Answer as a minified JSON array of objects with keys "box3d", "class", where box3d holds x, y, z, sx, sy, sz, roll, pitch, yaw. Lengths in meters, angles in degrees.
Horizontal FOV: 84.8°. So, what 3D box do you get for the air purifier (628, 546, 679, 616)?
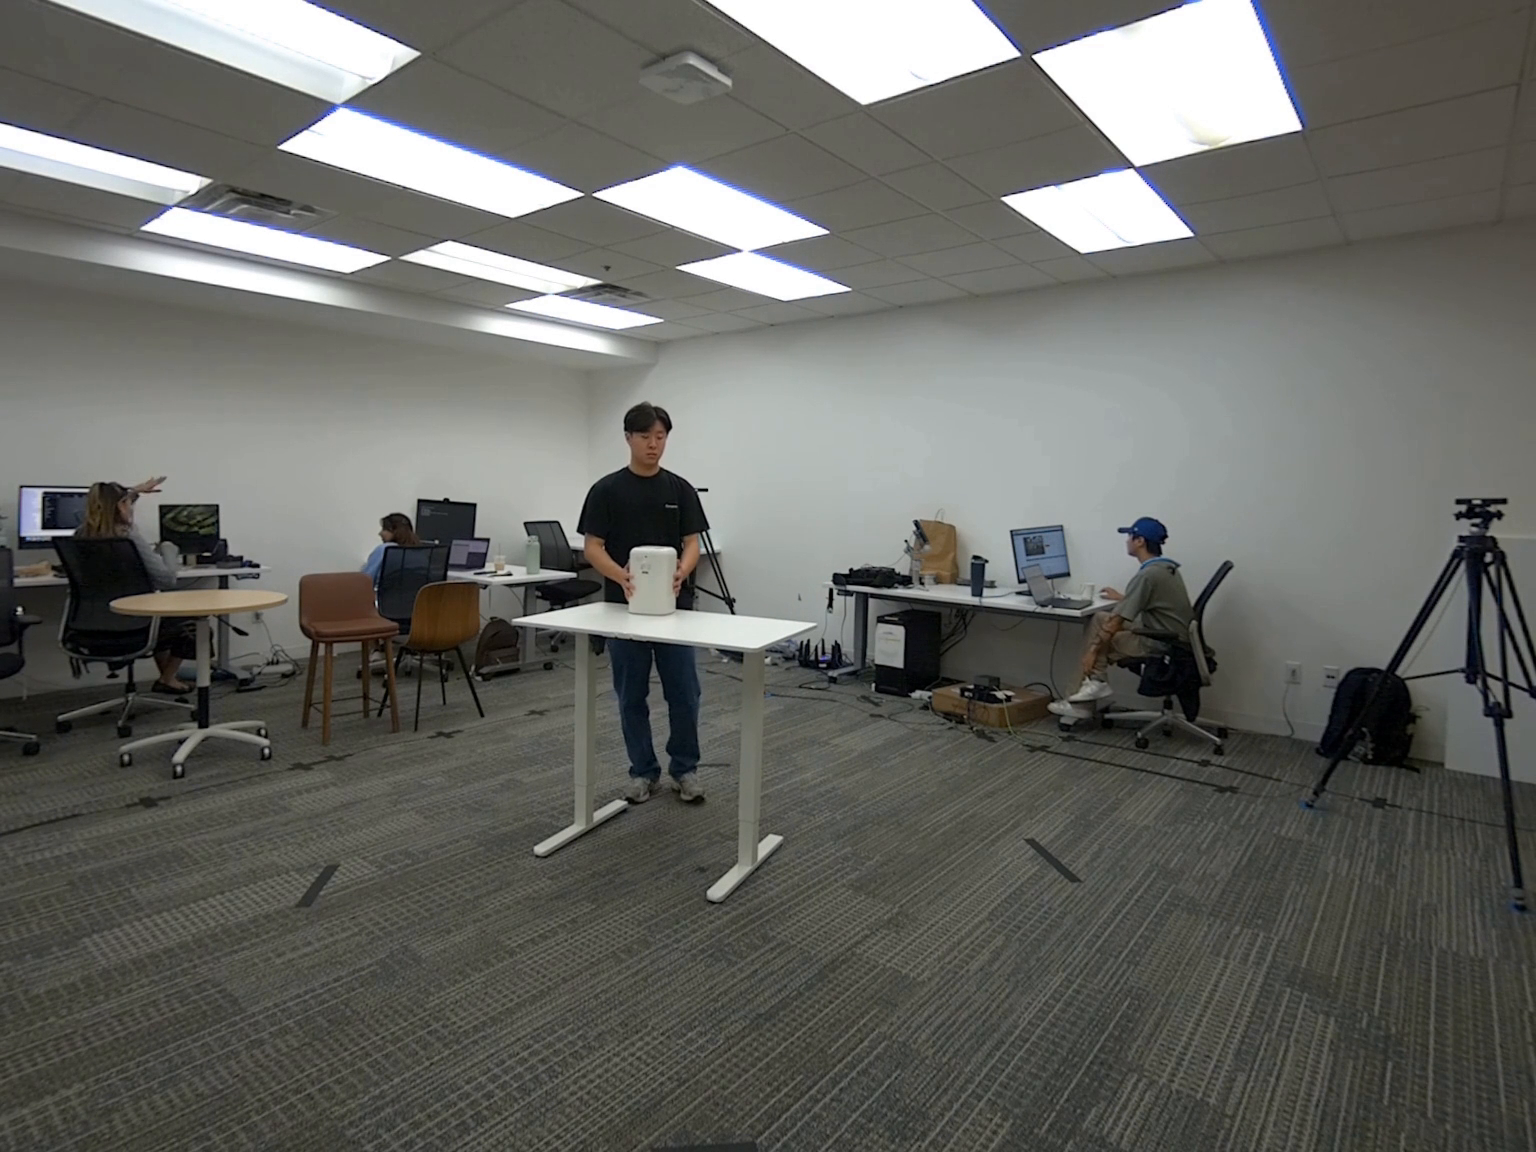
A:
[{"box3d":[-0.483,0.011,3.458,0.174,0.264,0.170,3,5,13],"class":"air purifier"}]
